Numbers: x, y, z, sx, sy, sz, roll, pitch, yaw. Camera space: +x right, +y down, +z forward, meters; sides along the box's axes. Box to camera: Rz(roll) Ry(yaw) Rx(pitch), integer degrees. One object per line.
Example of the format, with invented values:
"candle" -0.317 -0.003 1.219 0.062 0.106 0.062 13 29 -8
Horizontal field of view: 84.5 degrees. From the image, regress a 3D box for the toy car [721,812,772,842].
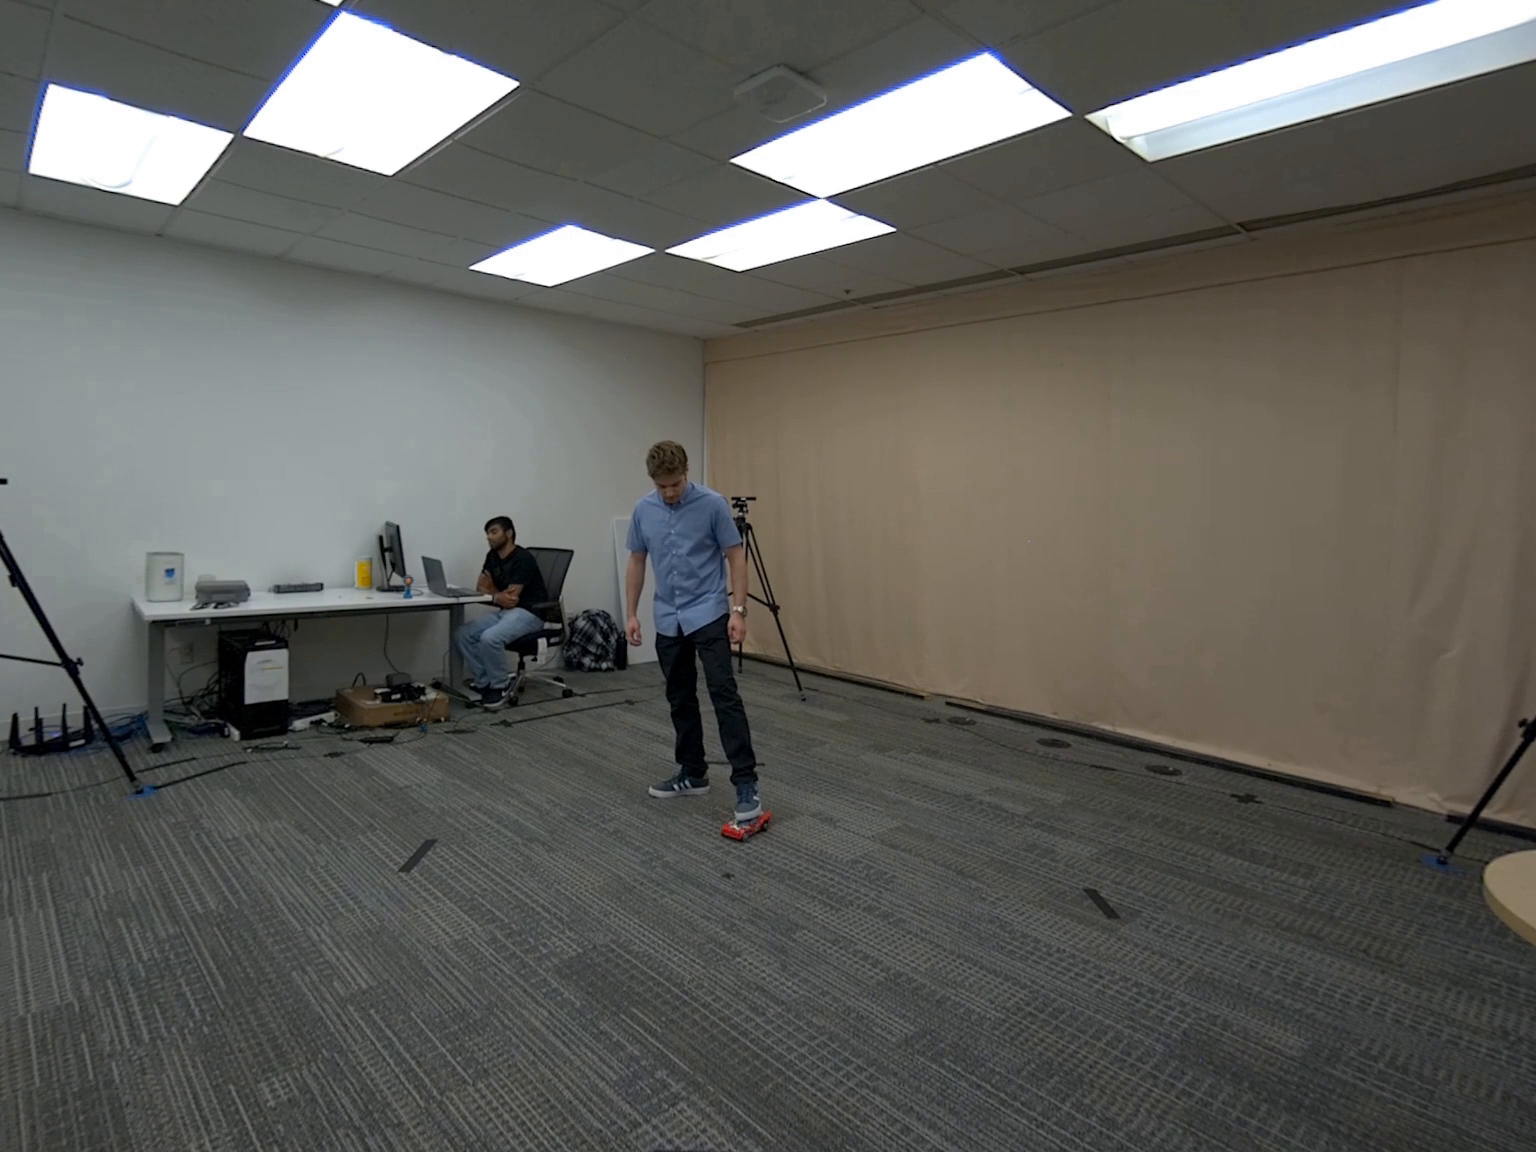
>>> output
"toy car" -0.095 1.043 3.524 0.133 0.082 0.251 2 15 35
